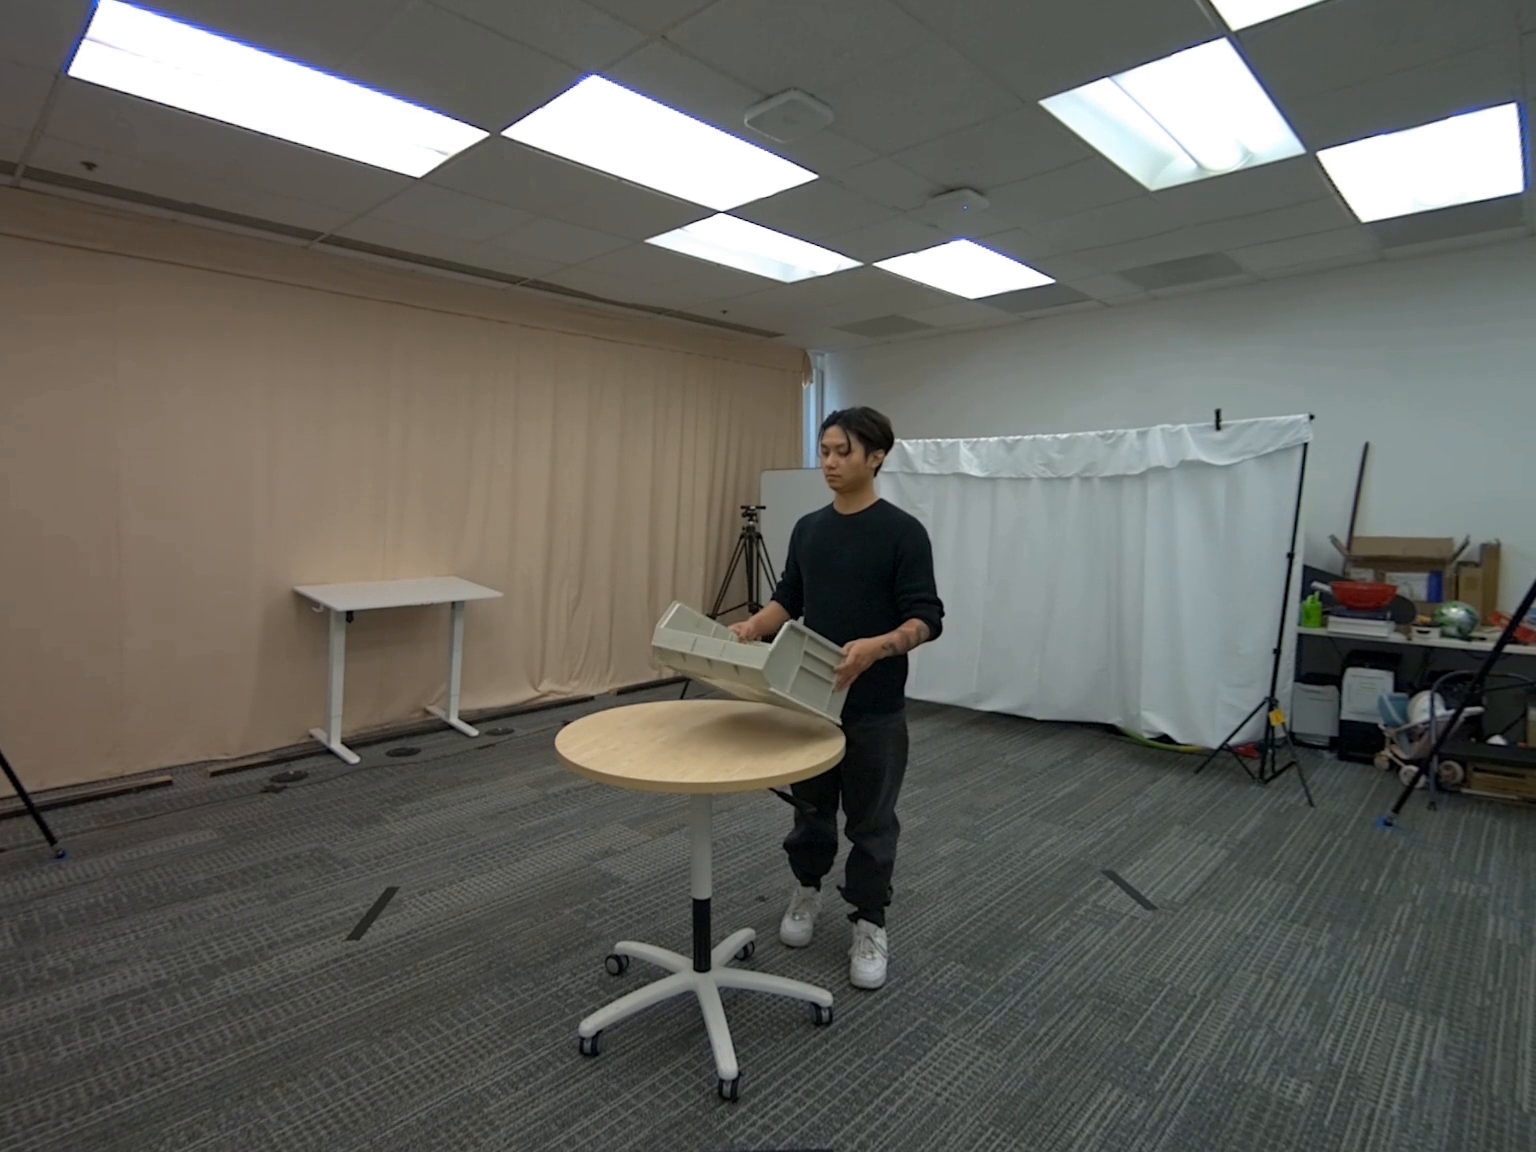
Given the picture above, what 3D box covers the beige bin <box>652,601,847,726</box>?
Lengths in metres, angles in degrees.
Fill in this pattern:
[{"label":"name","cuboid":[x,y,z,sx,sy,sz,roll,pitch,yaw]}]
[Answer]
[{"label":"beige bin","cuboid":[-0.032,0.227,2.253,0.437,0.189,0.363,6,-18,43]}]
